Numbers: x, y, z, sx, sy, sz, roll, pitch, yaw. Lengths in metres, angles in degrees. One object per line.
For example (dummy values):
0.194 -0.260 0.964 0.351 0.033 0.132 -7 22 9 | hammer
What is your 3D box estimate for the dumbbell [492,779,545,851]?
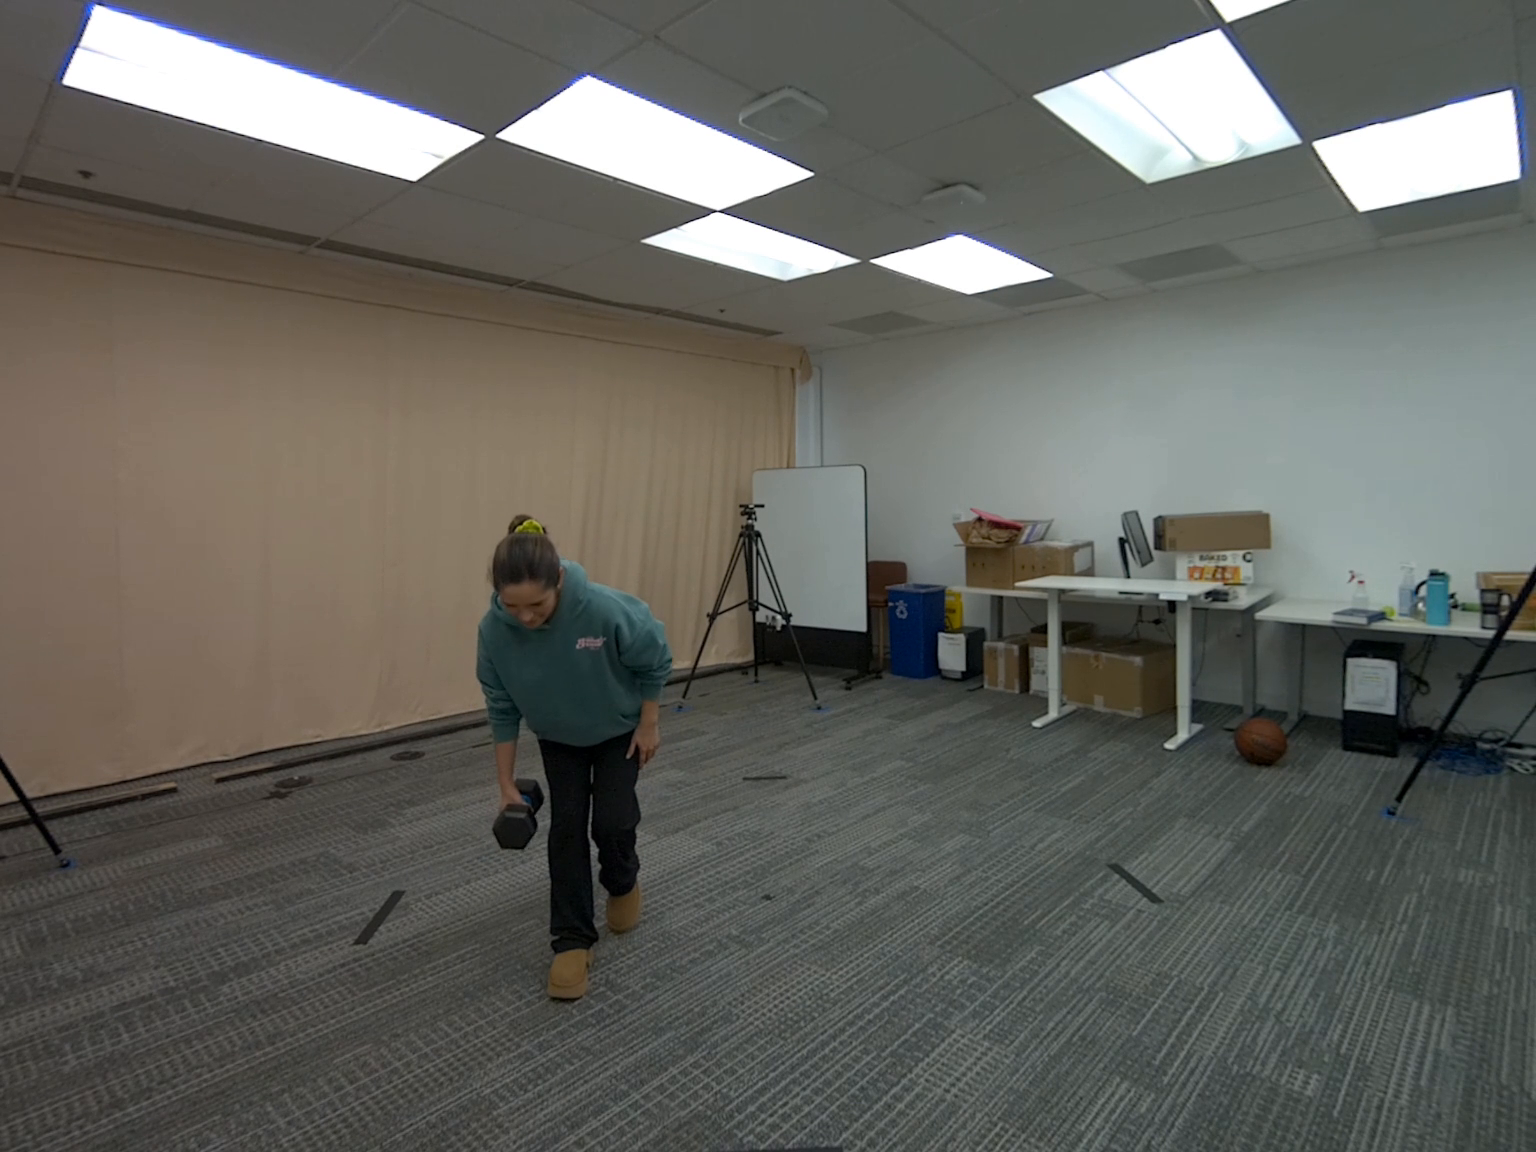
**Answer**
-0.728 0.697 2.461 0.108 0.122 0.297 -25 8 -6 | dumbbell
